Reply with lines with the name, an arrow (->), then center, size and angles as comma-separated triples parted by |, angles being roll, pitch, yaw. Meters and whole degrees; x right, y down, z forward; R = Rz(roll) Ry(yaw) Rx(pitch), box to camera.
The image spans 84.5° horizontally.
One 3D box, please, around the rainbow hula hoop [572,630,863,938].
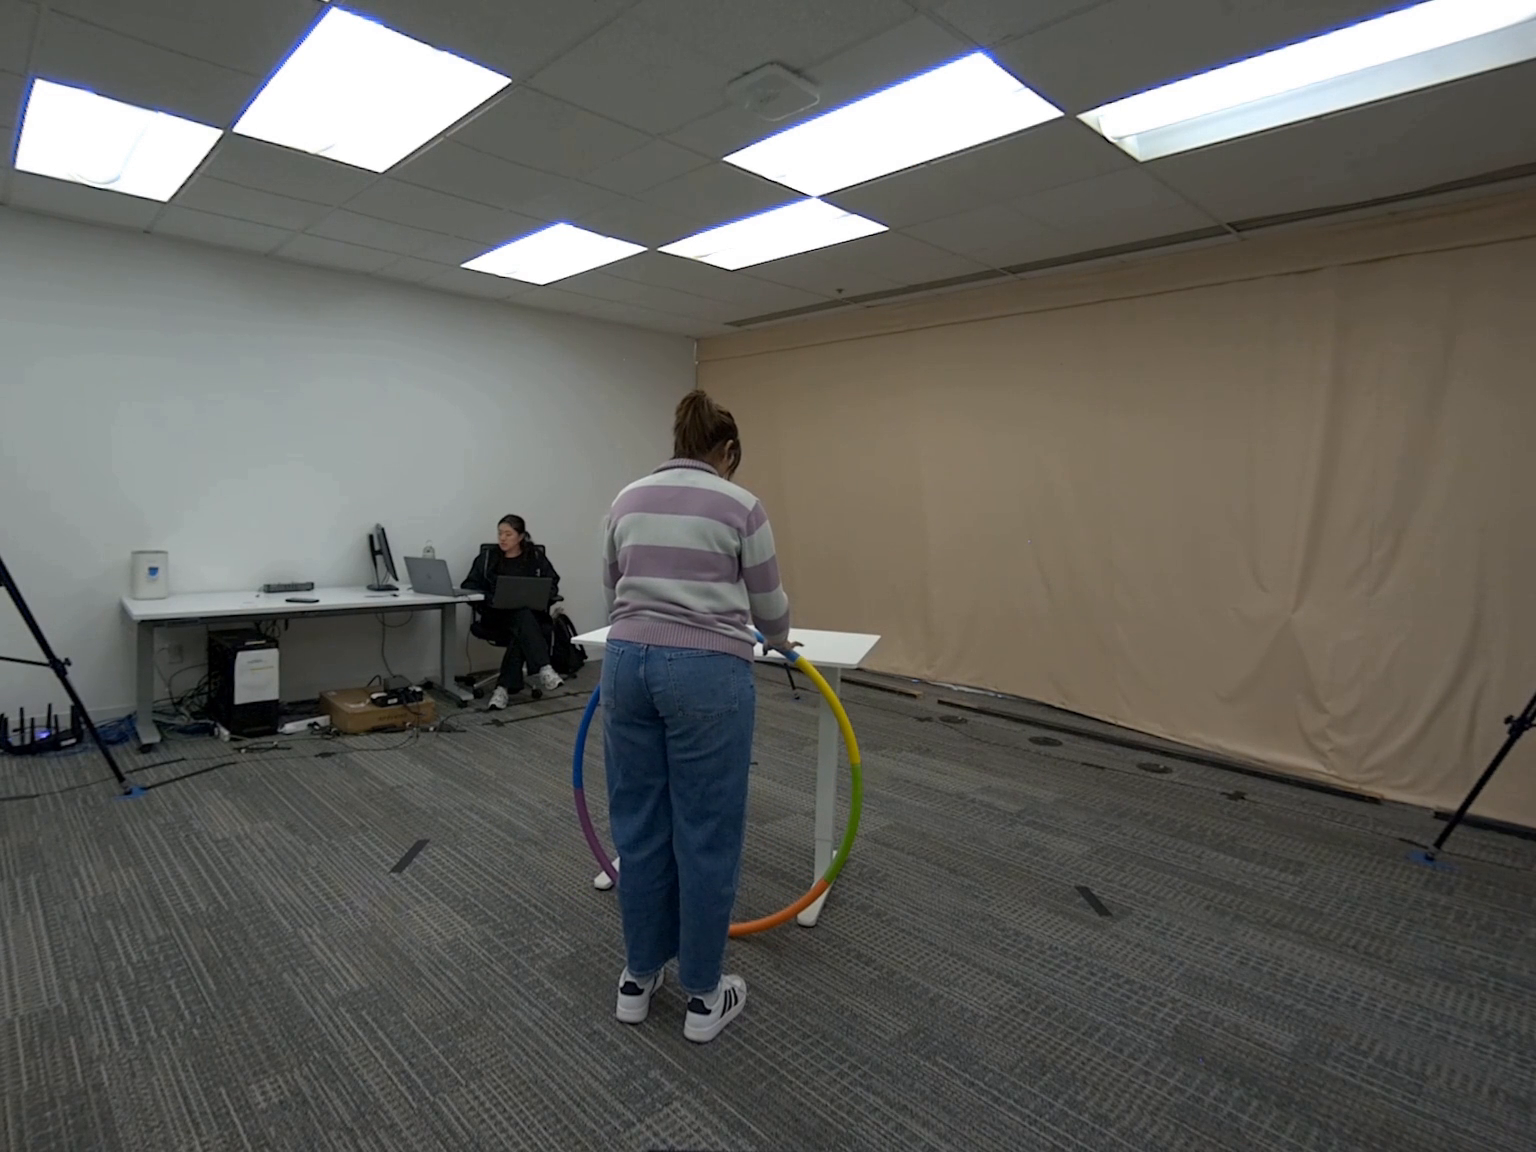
rainbow hula hoop -> -0.201, 0.661, 2.717 | 0.992, 0.982, 0.035 | 2, -6, 17
